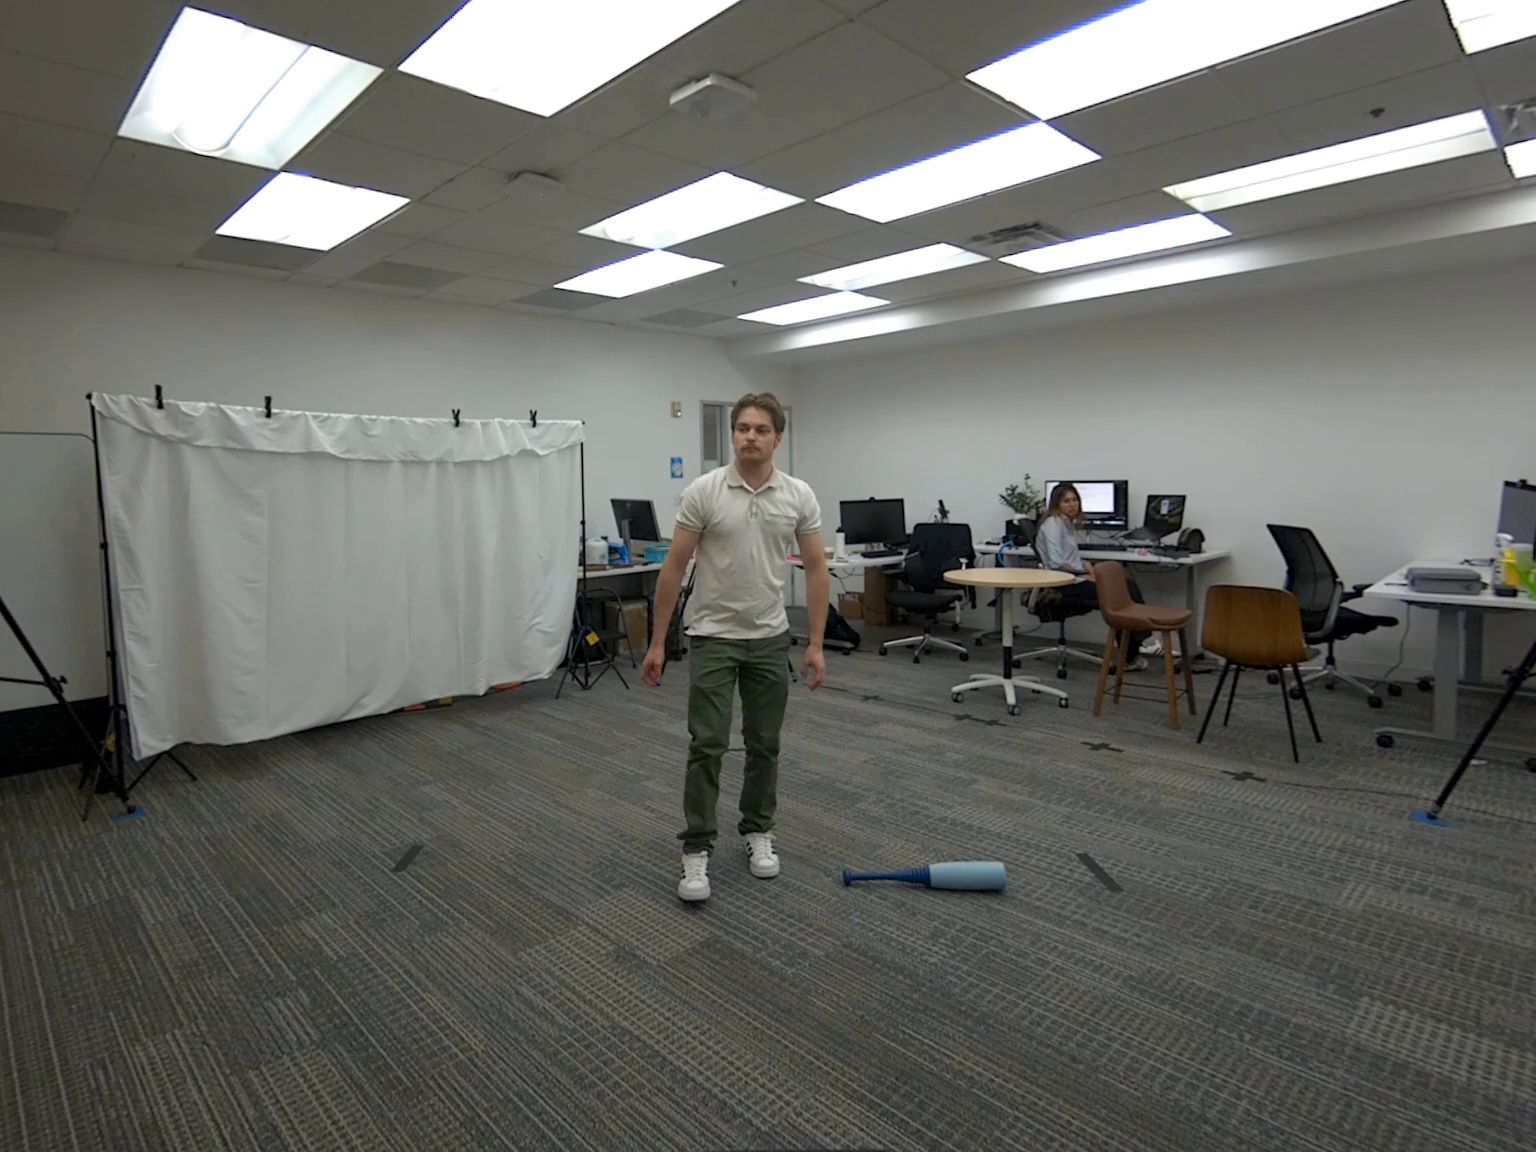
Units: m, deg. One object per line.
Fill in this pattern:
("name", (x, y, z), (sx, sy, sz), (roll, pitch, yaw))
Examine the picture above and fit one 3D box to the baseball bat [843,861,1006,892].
("baseball bat", (0.532, 1.024, 2.906), (0.547, 0.089, 0.089), (-4, 4, 7))
